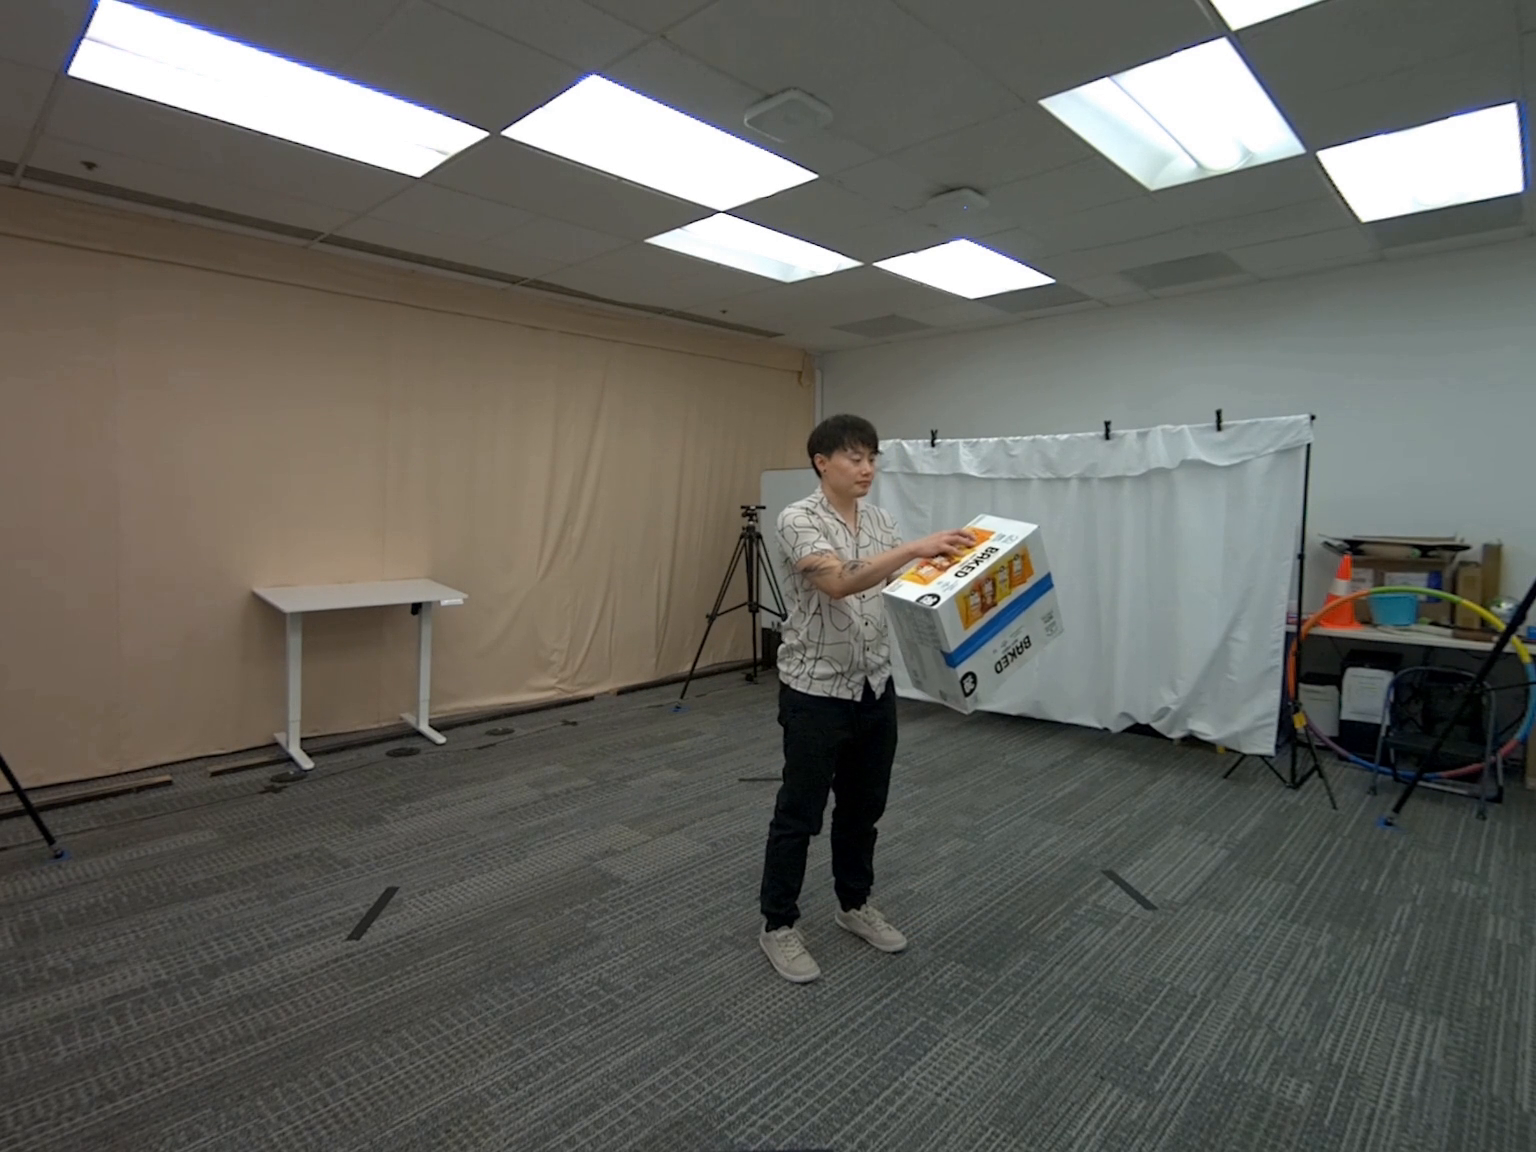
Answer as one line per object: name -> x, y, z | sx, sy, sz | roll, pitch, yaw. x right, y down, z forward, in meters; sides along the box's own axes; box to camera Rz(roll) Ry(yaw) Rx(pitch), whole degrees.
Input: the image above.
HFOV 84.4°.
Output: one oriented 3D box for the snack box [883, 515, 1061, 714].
snack box -> 0.557, 0.096, 2.271 | 0.400, 0.333, 0.212 | -34, 27, -22
